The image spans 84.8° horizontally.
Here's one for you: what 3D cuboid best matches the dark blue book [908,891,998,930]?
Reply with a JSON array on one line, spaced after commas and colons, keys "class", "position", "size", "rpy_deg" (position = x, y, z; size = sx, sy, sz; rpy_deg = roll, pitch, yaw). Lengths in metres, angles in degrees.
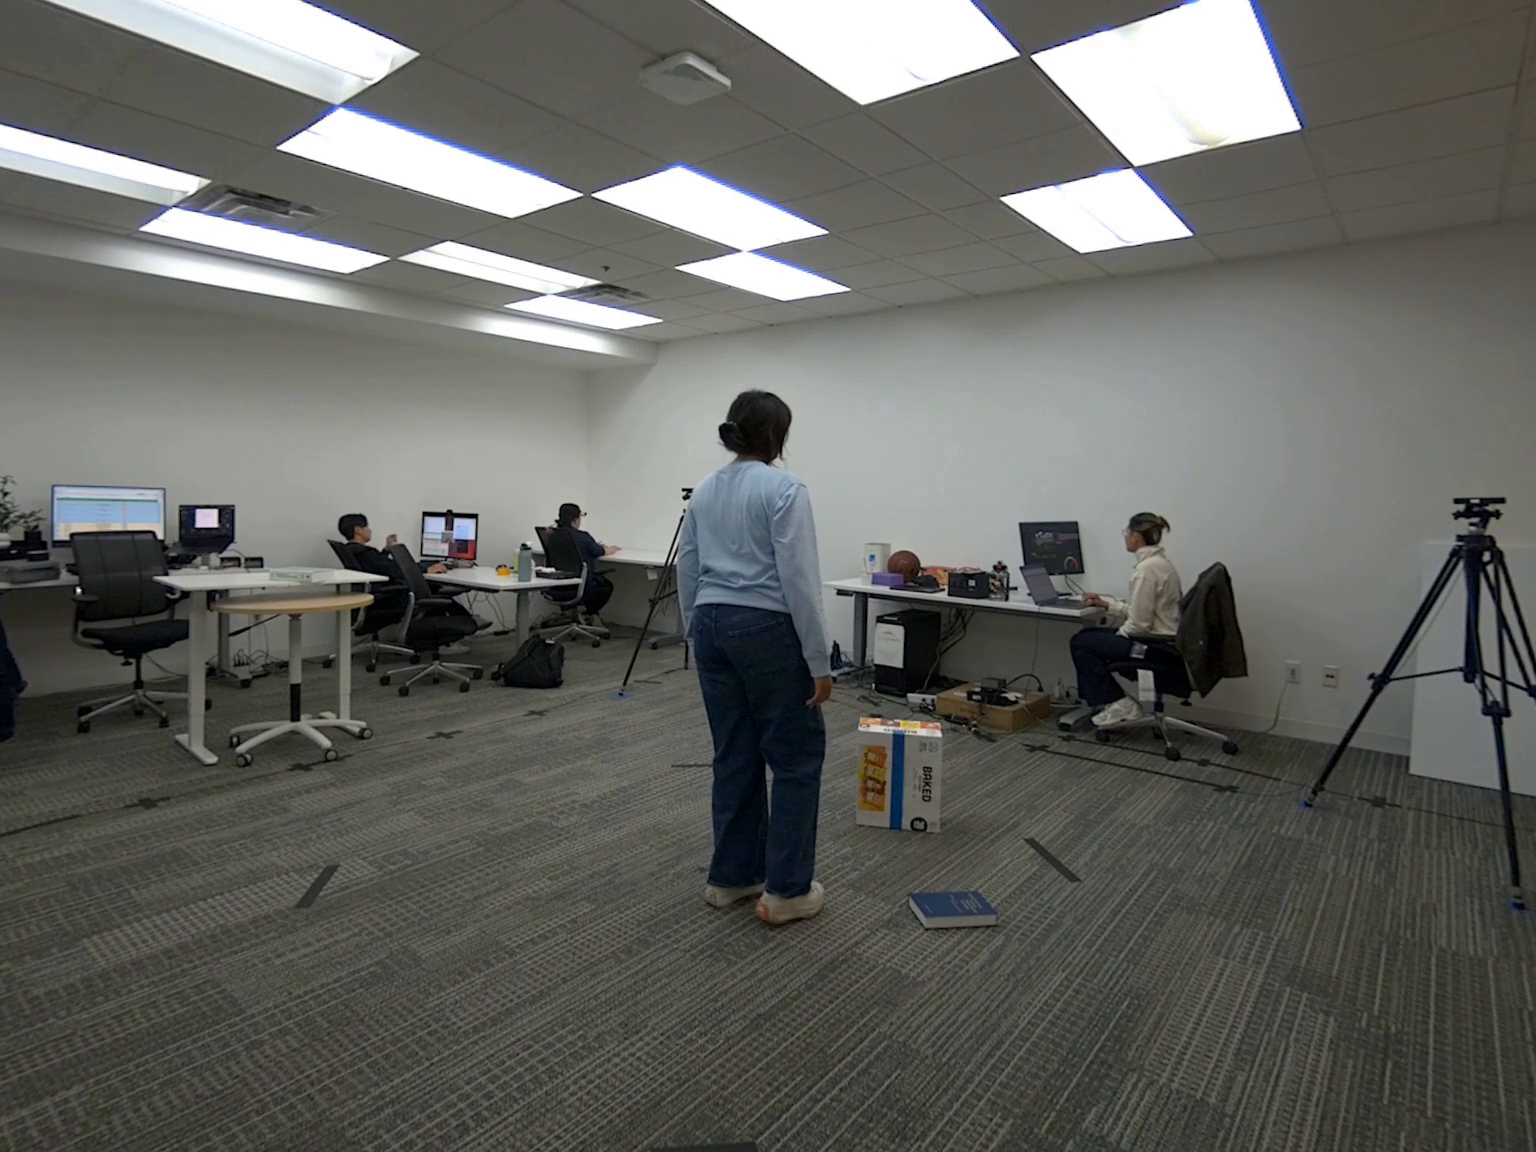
[{"class": "dark blue book", "position": [0.602, 1.100, 2.797], "size": [0.243, 0.045, 0.165], "rpy_deg": [1, 6, -8]}]
